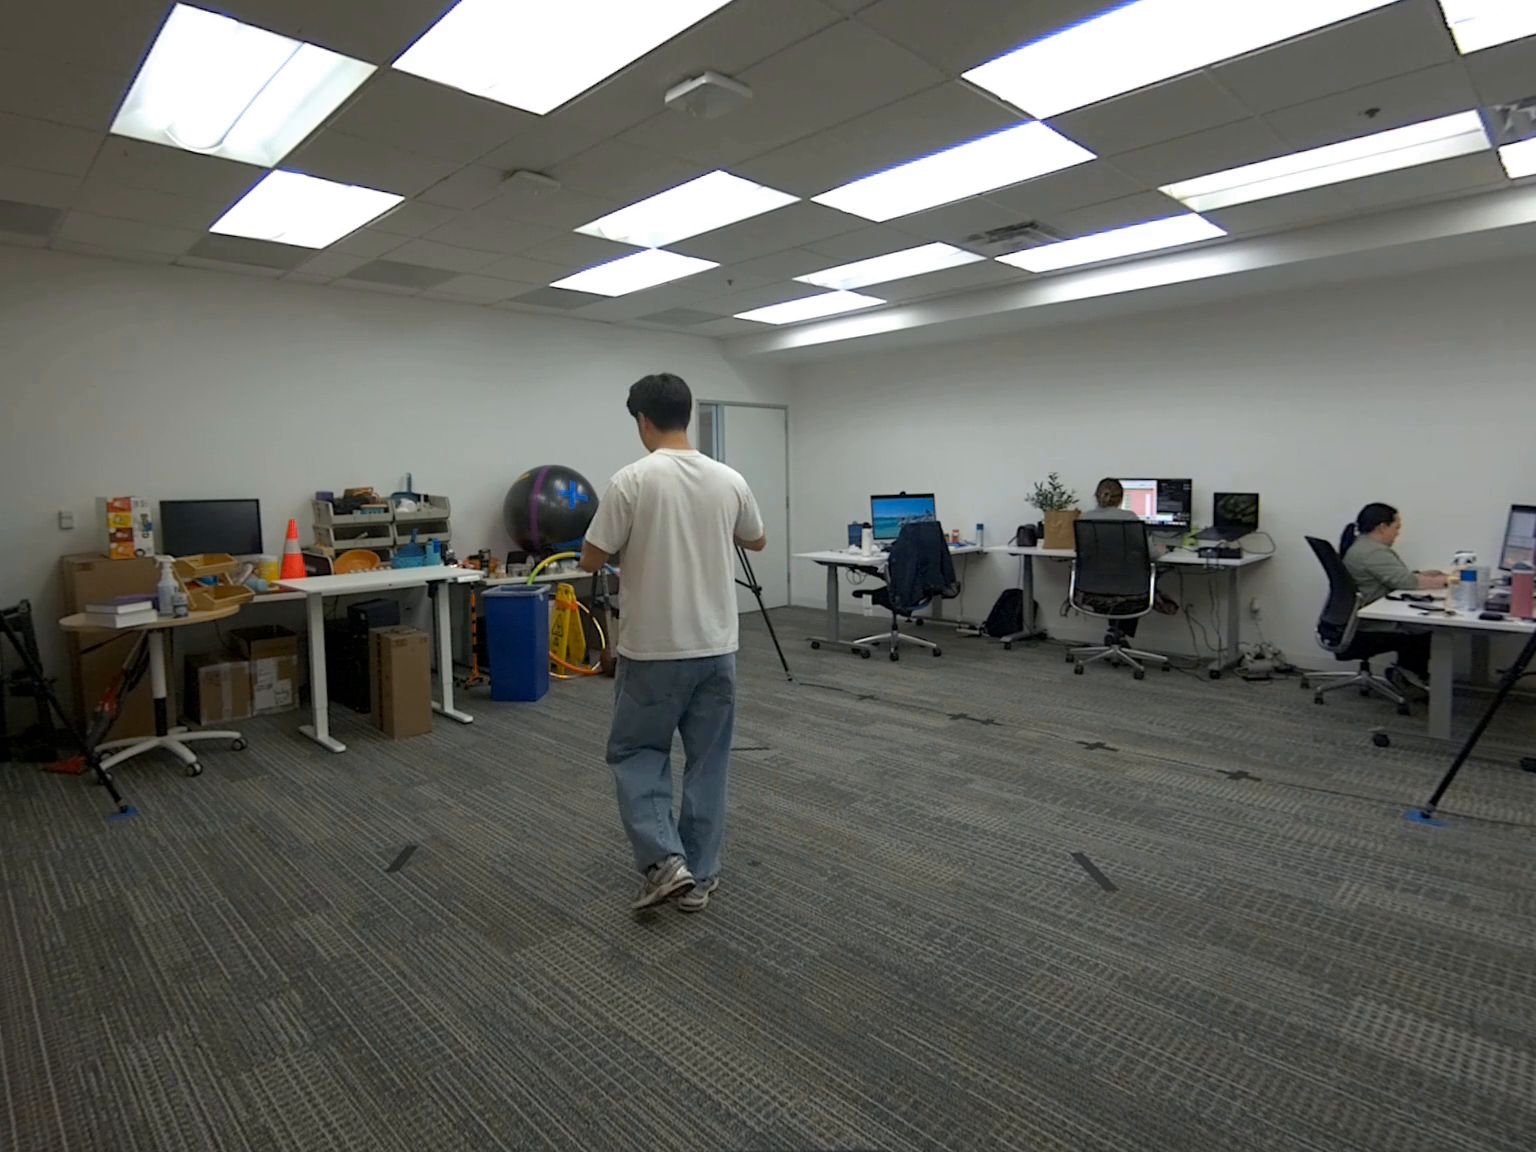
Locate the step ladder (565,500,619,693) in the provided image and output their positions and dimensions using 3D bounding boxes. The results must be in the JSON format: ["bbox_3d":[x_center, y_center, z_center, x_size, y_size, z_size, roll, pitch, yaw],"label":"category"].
[{"bbox_3d":[-0.448,0.035,3.108,0.421,0.600,0.360,-9,13,-30],"label":"step ladder"}]
